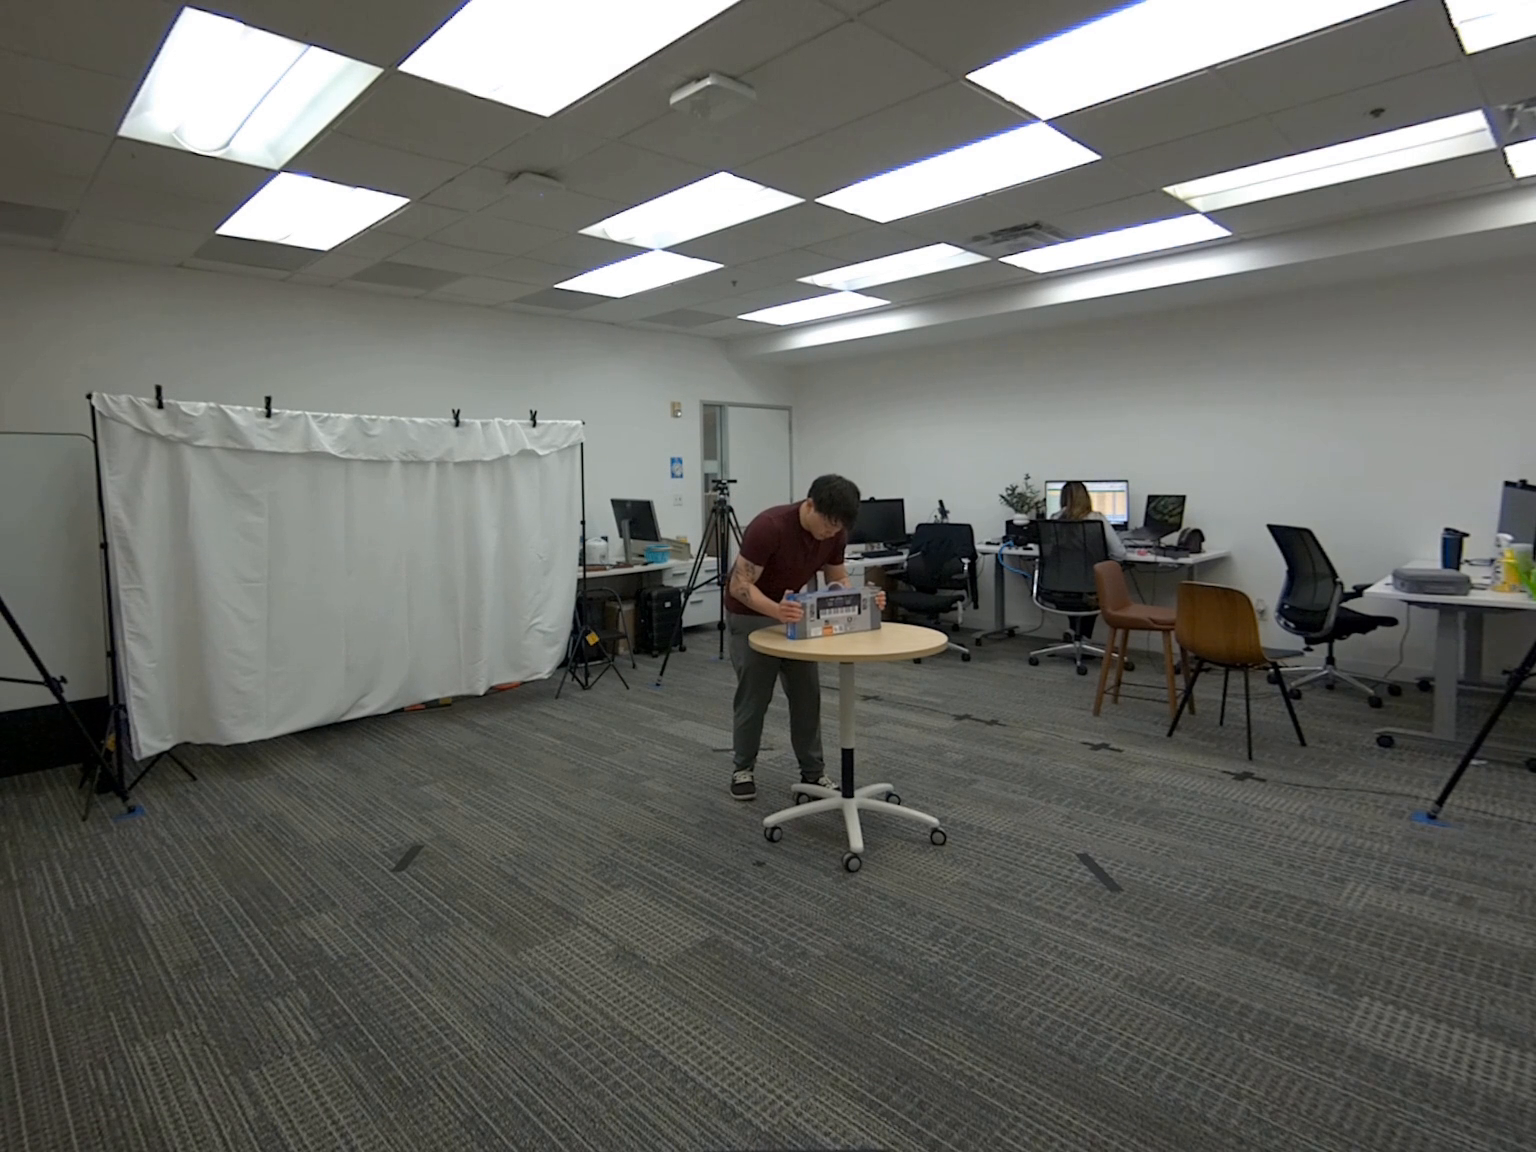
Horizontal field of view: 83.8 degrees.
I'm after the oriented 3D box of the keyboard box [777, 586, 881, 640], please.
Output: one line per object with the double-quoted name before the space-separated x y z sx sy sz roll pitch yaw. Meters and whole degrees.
"keyboard box" 0.265 0.150 3.396 0.426 0.175 0.061 -4 6 -33
